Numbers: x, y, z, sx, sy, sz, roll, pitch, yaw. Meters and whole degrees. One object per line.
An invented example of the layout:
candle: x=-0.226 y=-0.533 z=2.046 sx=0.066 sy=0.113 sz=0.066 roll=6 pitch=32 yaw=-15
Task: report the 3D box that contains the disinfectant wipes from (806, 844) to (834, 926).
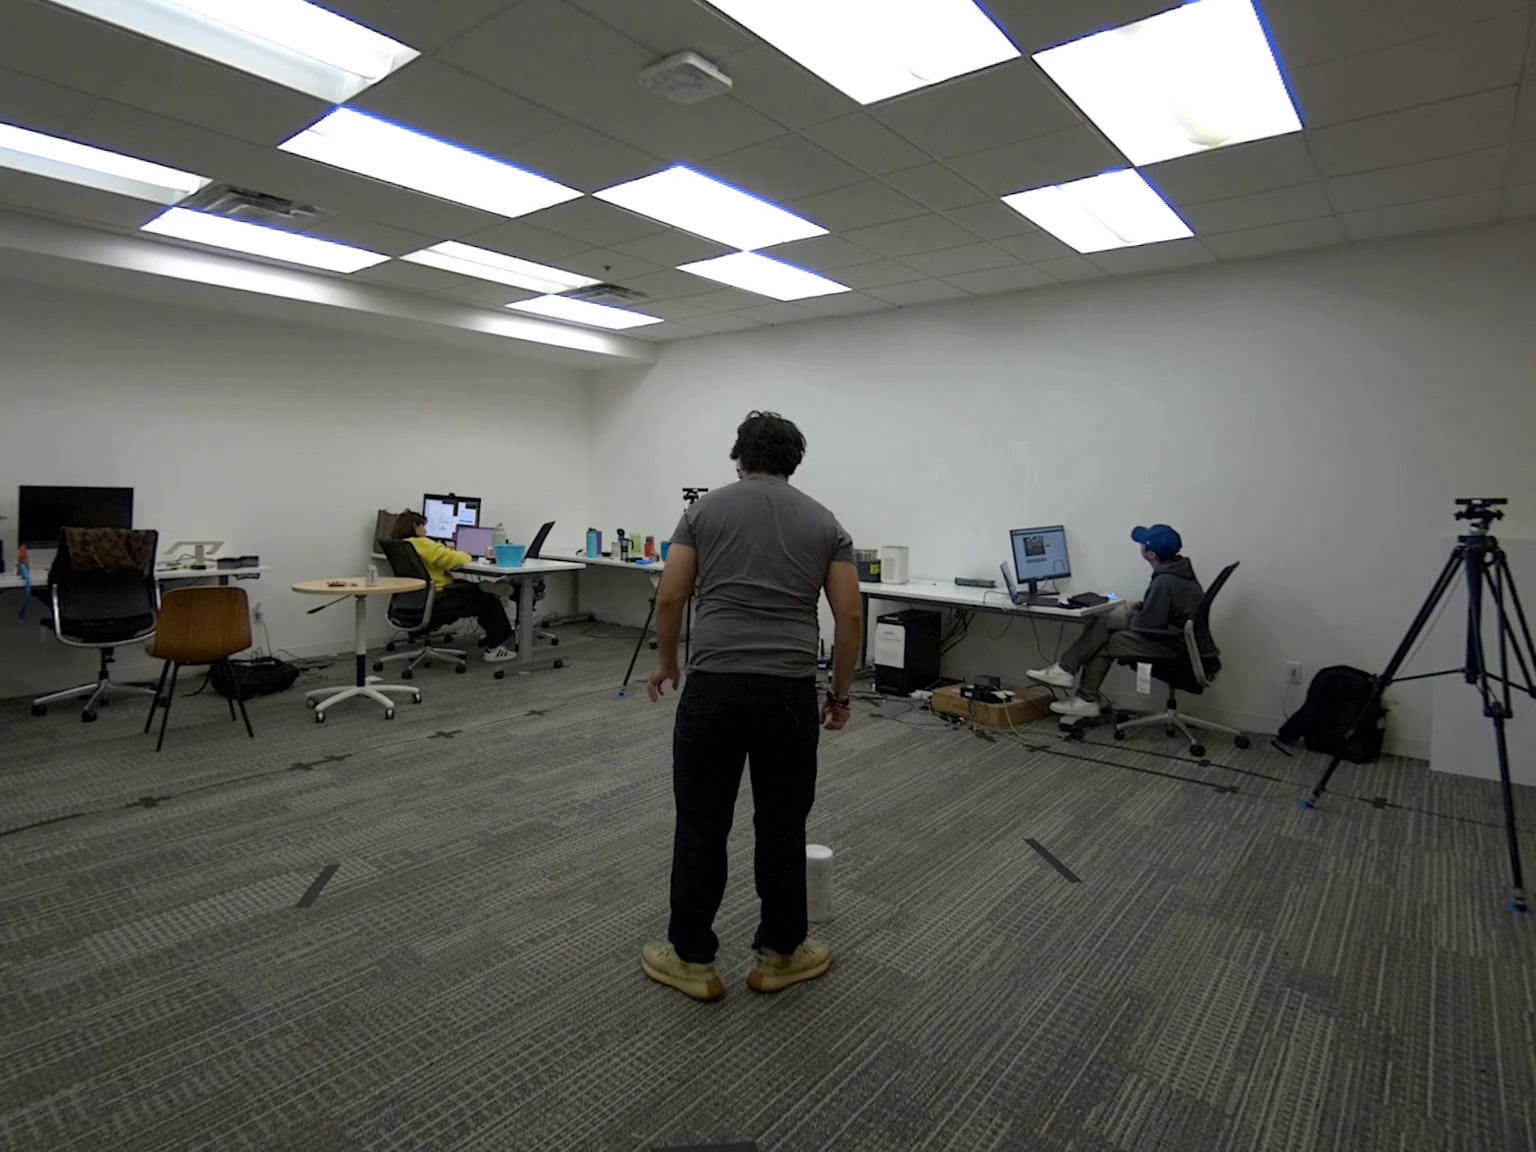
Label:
disinfectant wipes: x=0.155 y=1.002 z=2.785 sx=0.118 sy=0.217 sz=0.118 roll=-3 pitch=3 yaw=-2
